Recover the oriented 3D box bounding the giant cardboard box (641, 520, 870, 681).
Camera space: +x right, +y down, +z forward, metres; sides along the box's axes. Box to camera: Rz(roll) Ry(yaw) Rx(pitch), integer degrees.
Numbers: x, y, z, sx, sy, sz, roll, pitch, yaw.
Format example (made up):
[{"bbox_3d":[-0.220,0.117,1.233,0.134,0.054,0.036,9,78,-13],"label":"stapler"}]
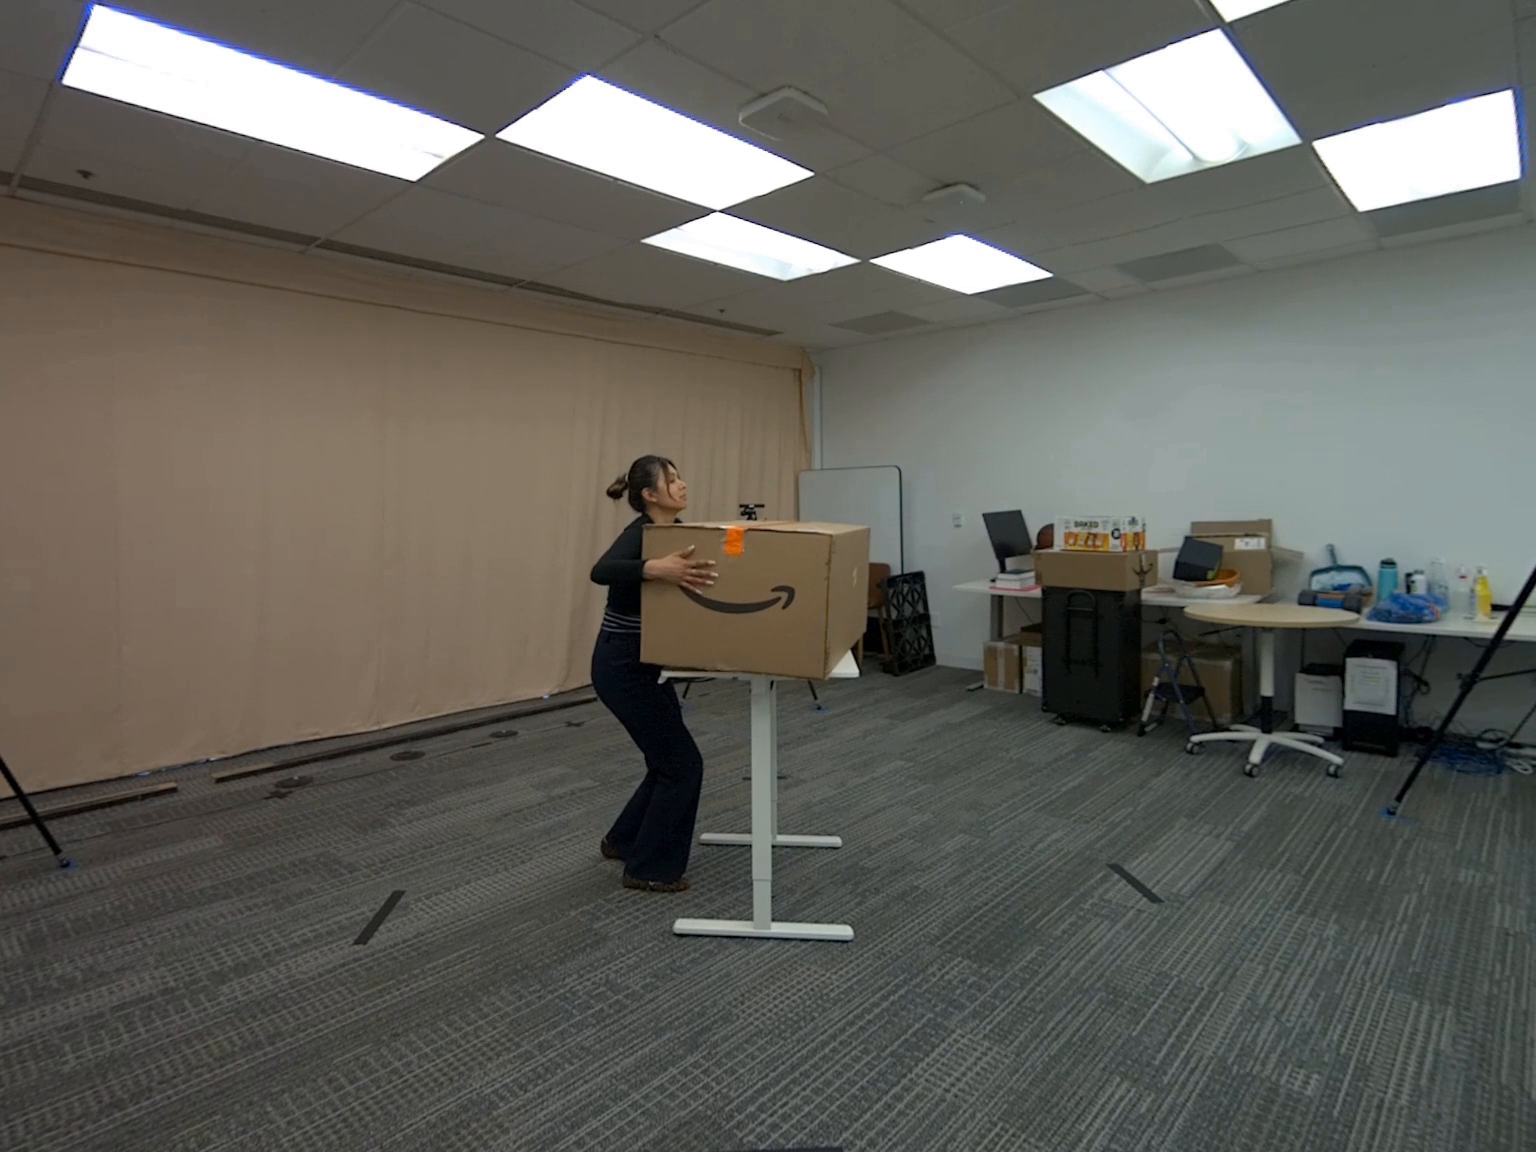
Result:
[{"bbox_3d":[0.010,0.030,2.975,0.587,0.425,1.011,4,5,14],"label":"giant cardboard box"}]
